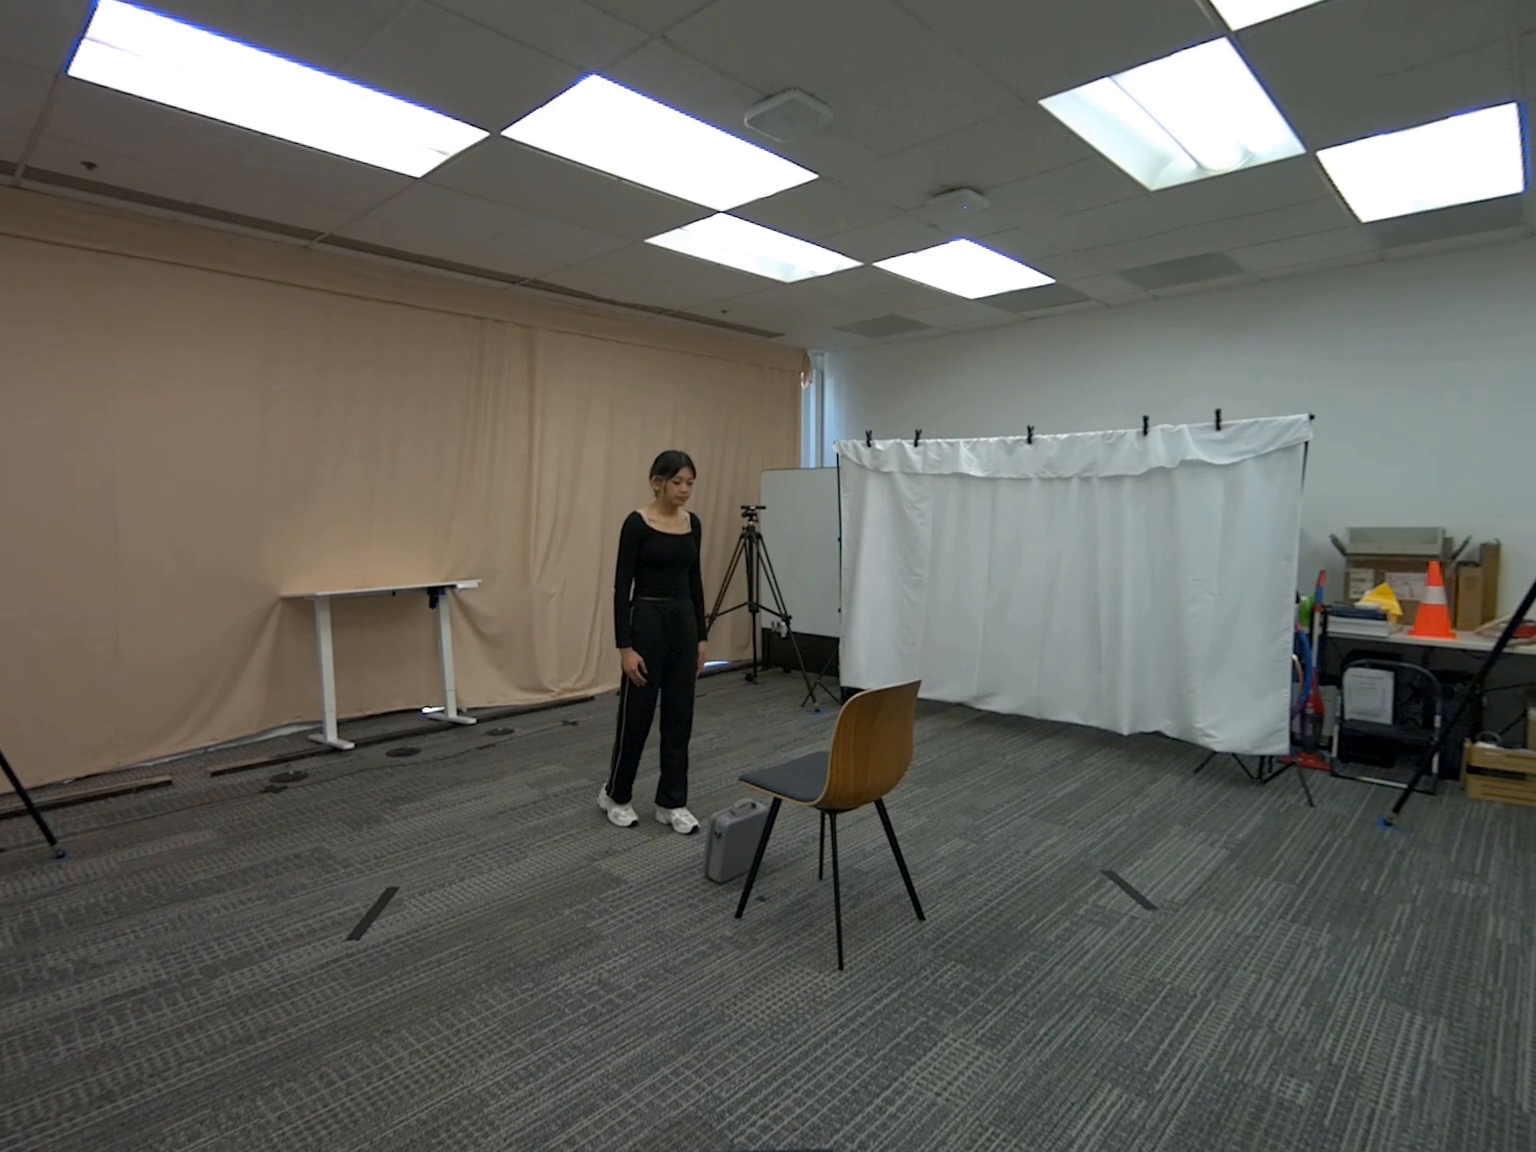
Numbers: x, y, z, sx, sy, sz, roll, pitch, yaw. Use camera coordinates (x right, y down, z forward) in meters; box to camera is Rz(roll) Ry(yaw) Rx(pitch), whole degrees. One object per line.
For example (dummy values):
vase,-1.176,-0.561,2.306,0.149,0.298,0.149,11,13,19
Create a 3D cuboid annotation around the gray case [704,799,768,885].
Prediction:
gray case,-0.116,0.996,3.181,0.108,0.259,0.249,16,14,41
